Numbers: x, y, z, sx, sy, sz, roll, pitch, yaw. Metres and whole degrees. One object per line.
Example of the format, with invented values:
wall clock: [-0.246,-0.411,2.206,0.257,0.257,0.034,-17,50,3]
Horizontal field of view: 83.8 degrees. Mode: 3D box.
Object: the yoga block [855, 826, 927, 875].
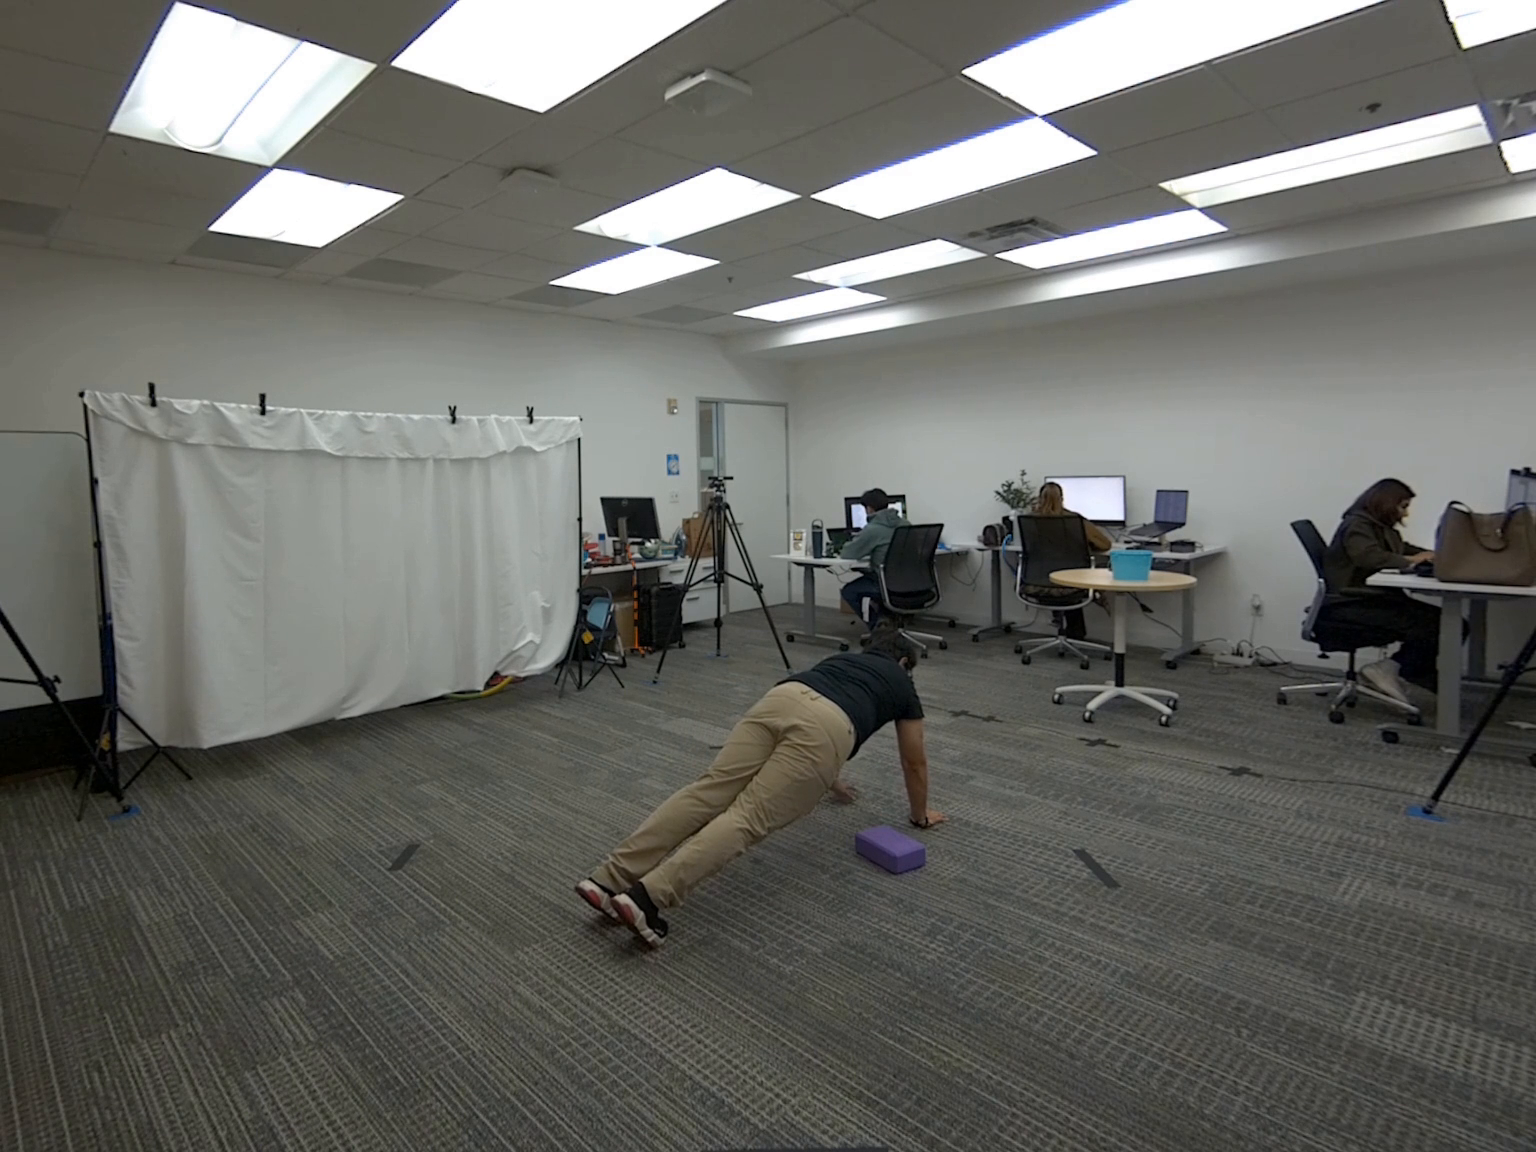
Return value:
yoga block: [0.448,0.986,3.097,0.145,0.076,0.236,-5,8,-31]
